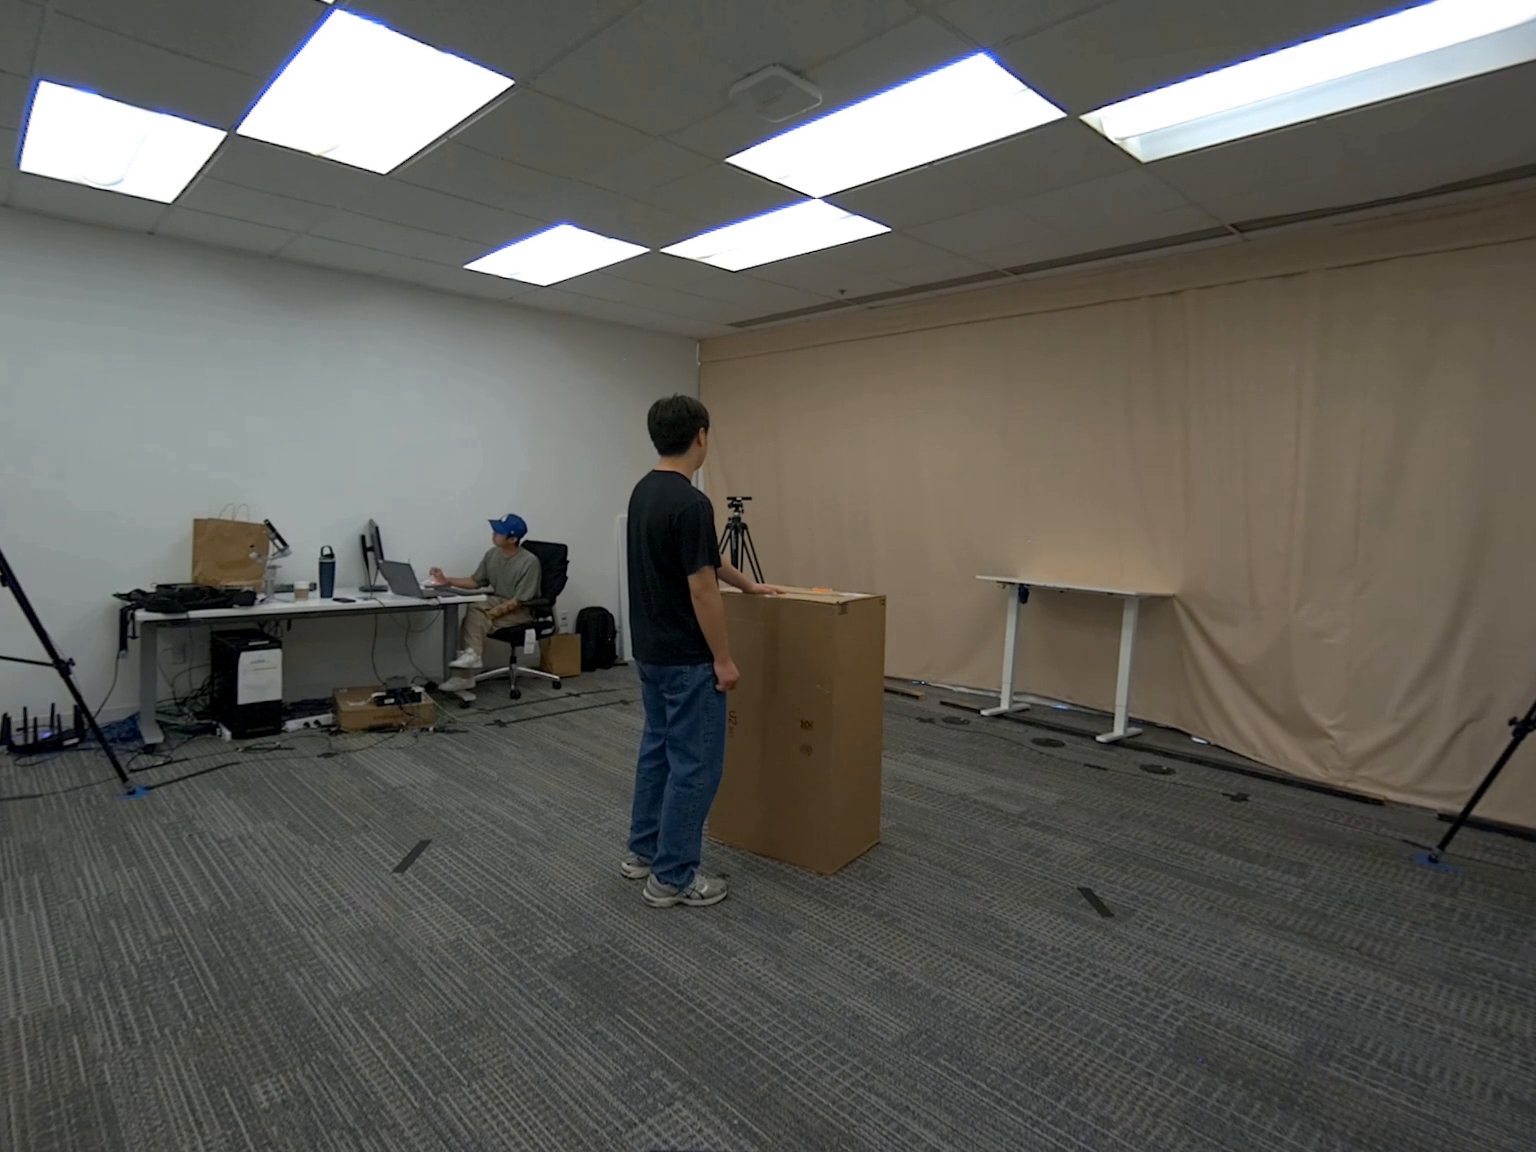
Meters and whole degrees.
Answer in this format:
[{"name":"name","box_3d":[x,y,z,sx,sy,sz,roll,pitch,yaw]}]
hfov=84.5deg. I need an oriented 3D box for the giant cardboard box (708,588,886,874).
[{"name":"giant cardboard box","box_3d":[0.118,0.573,3.431,0.598,1.025,0.437,3,3,36]}]
